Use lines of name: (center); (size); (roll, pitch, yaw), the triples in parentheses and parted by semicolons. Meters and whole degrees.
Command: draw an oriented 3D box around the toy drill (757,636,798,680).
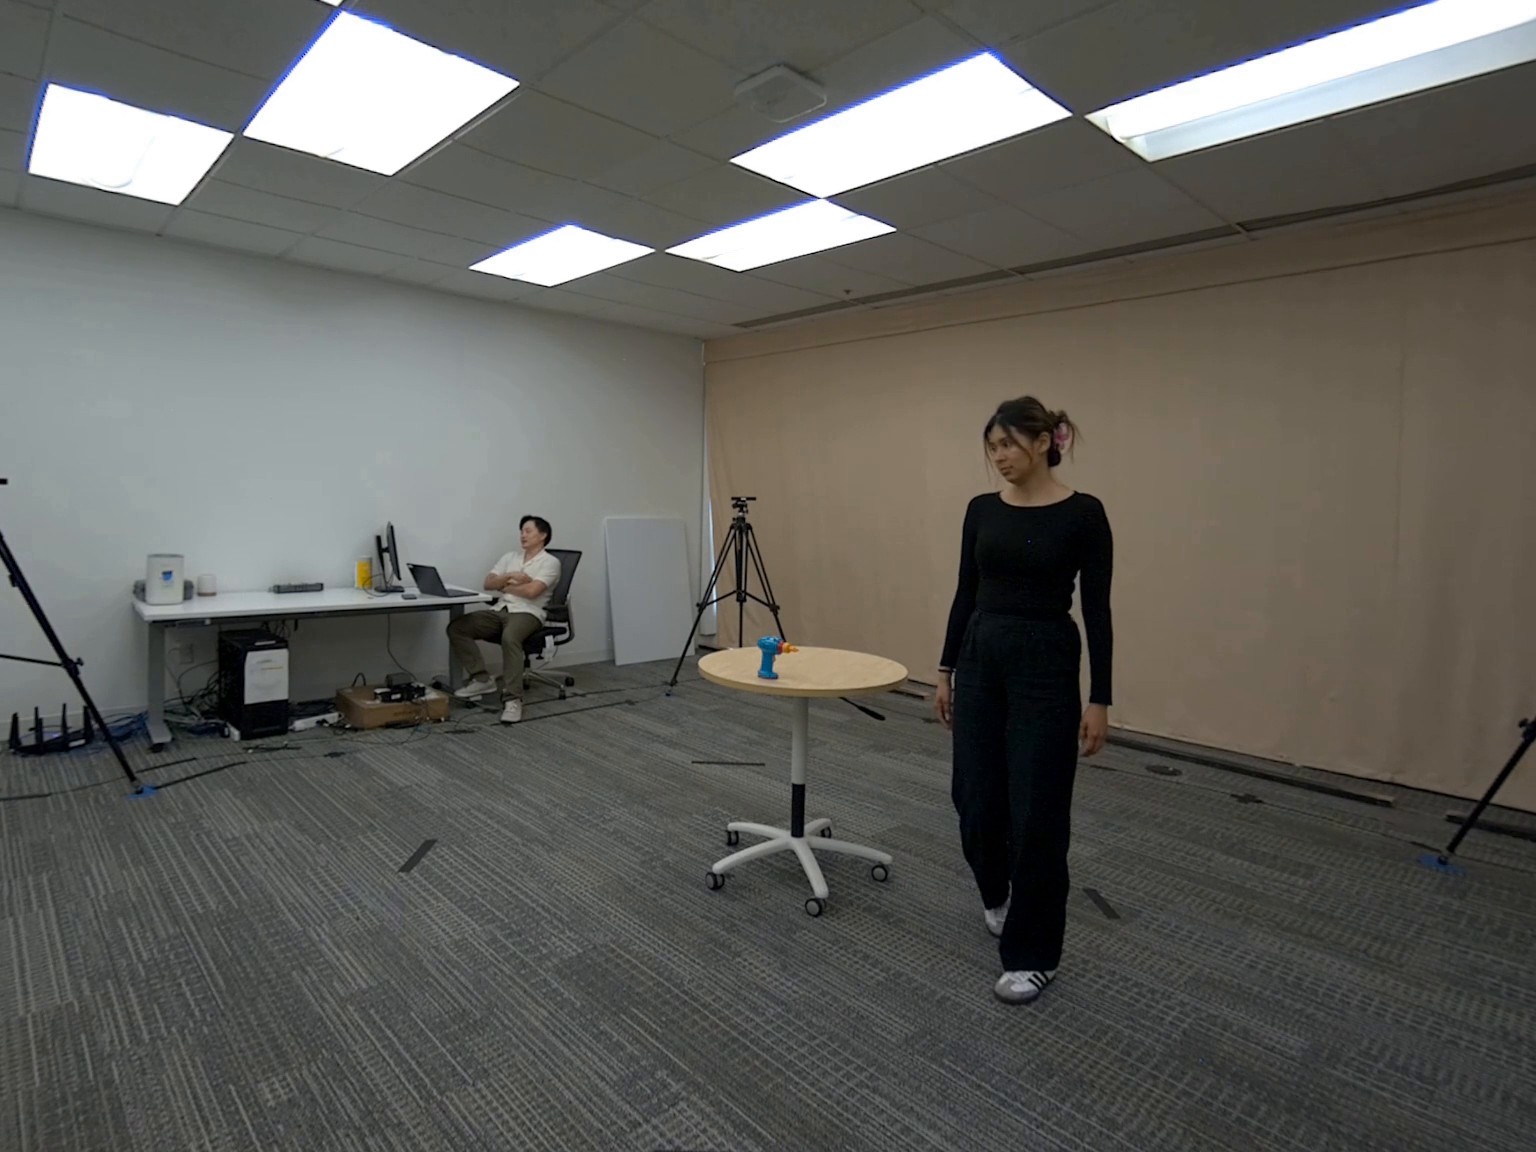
toy drill: (0.024, 0.281, 2.846); (0.174, 0.145, 0.060); (7, 6, 37)
